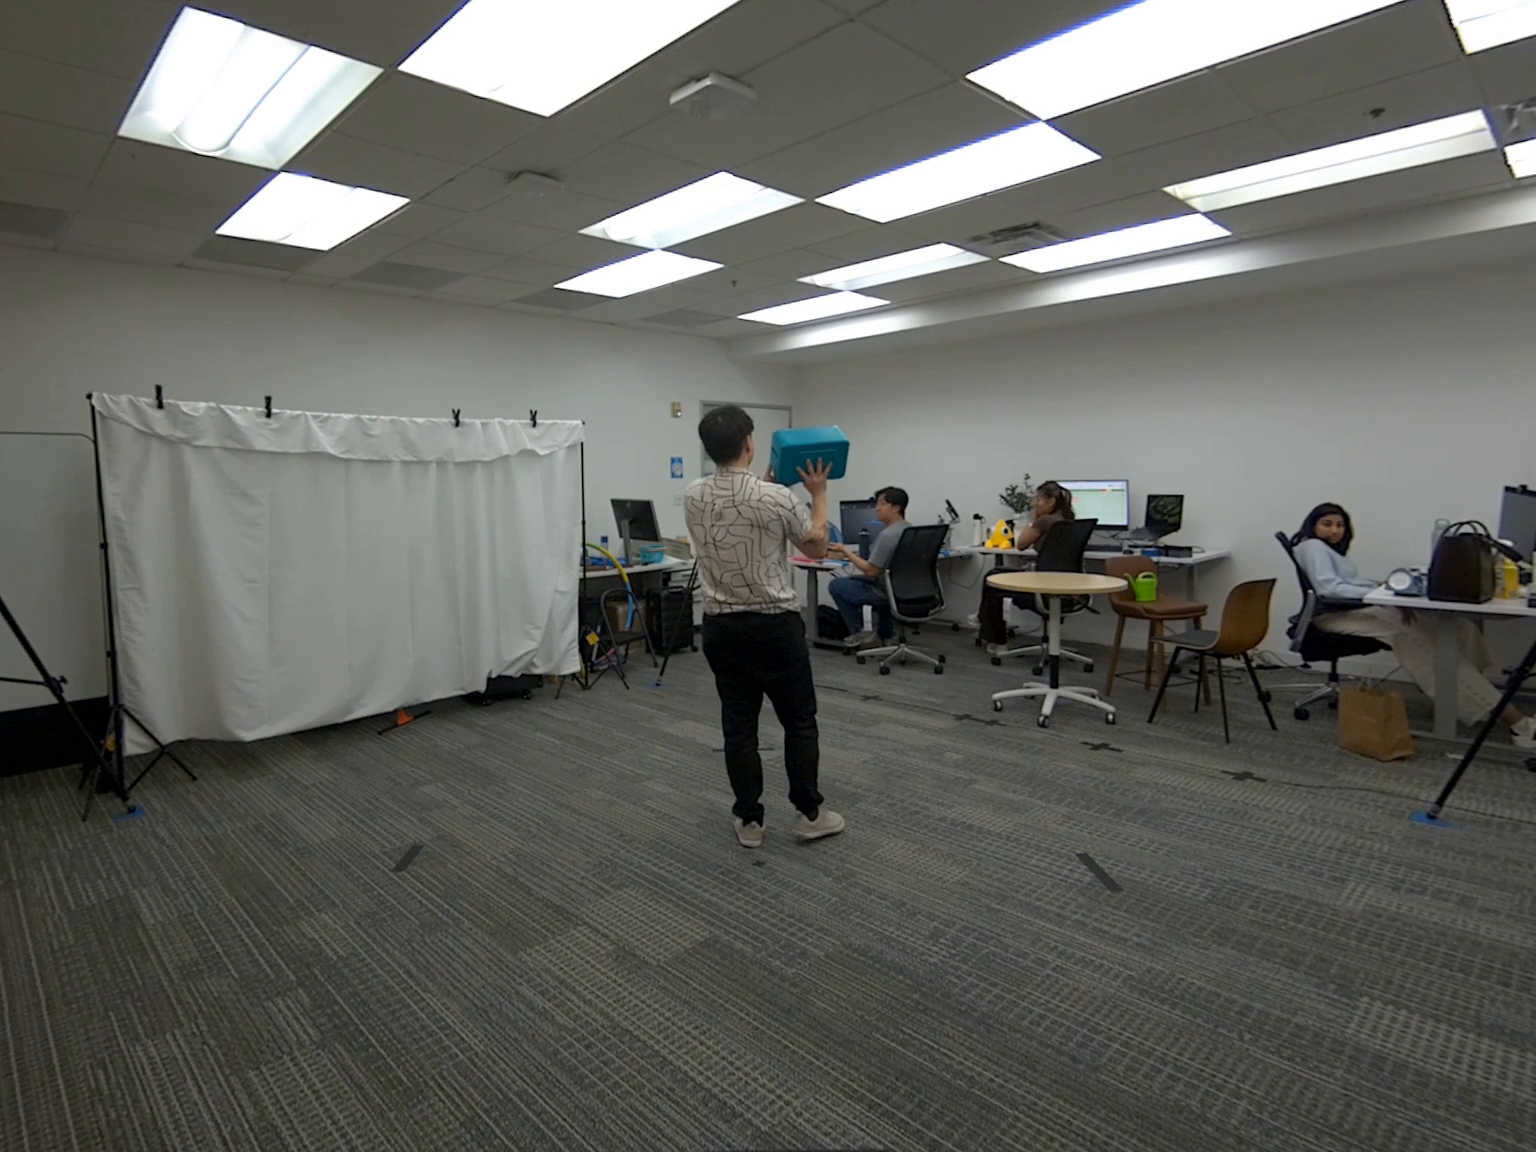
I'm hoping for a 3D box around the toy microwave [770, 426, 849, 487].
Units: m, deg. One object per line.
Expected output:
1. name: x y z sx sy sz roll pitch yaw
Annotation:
1. toy microwave: 0.159 -0.477 3.341 0.283 0.180 0.158 -7 38 -13
